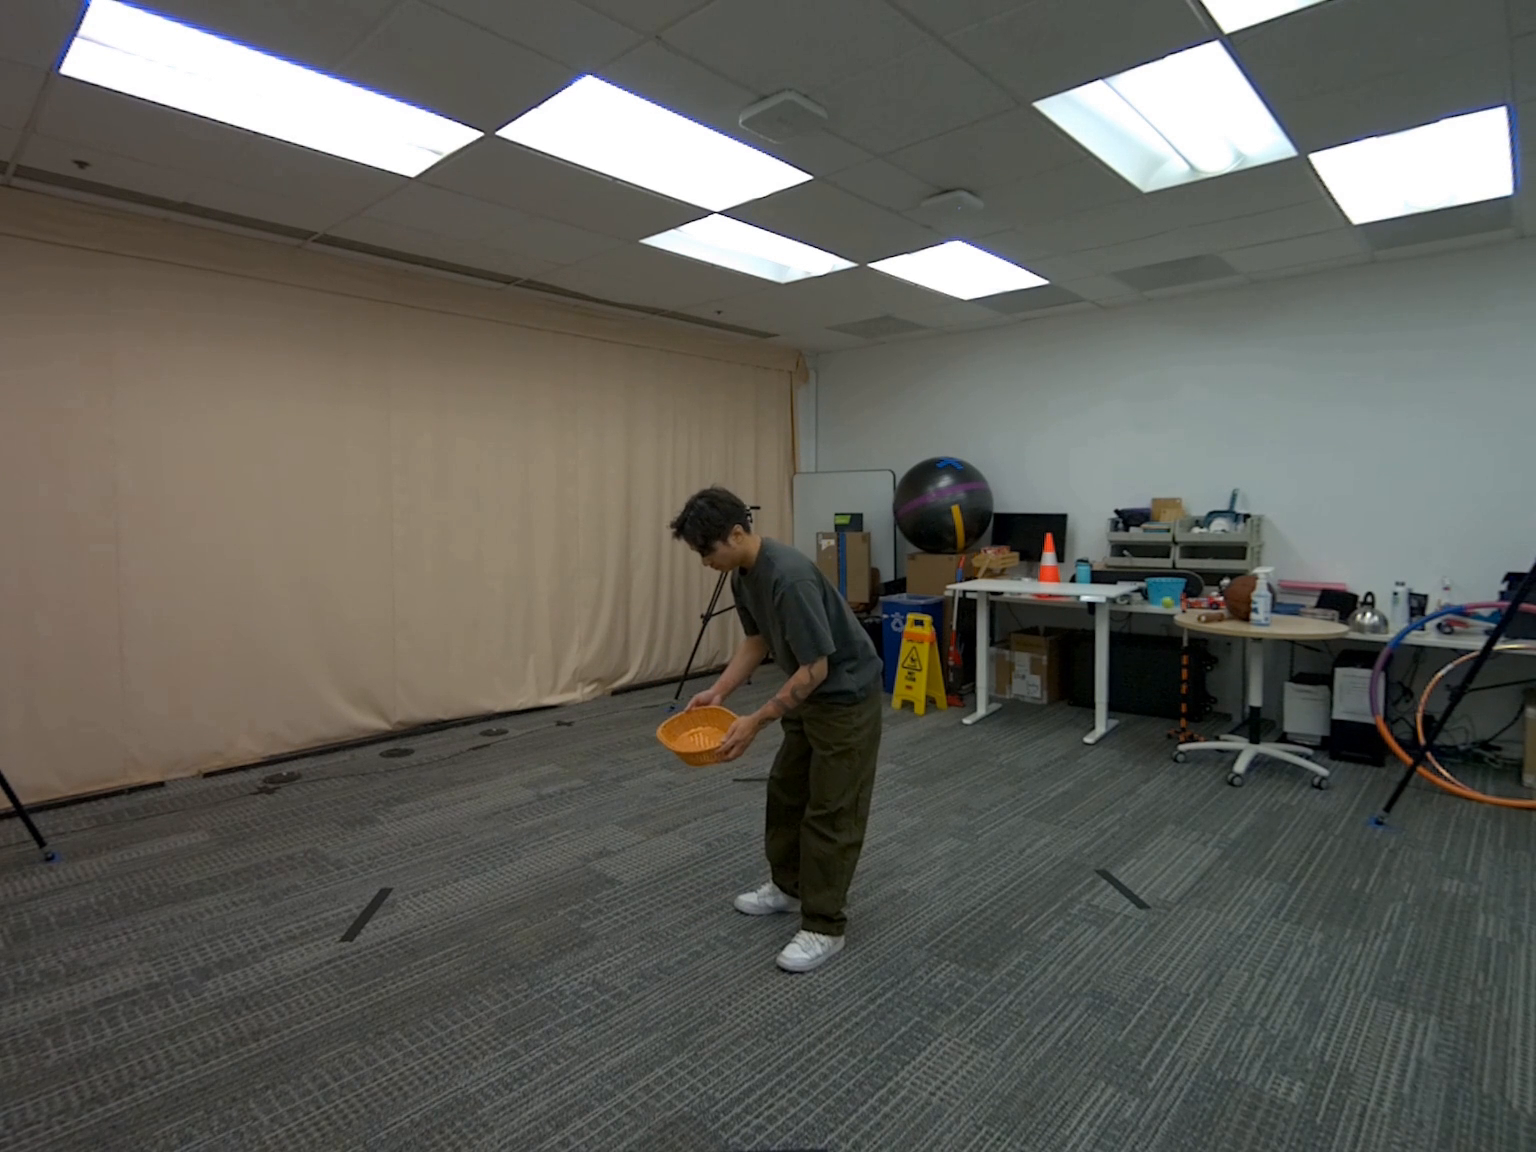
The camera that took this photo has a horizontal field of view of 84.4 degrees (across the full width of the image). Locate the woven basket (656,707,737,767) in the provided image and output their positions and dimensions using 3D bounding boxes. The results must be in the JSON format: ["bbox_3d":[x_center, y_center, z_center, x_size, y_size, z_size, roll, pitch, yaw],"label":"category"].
[{"bbox_3d":[-0.207,0.512,2.633,0.248,0.073,0.360,-19,14,-22],"label":"woven basket"}]
